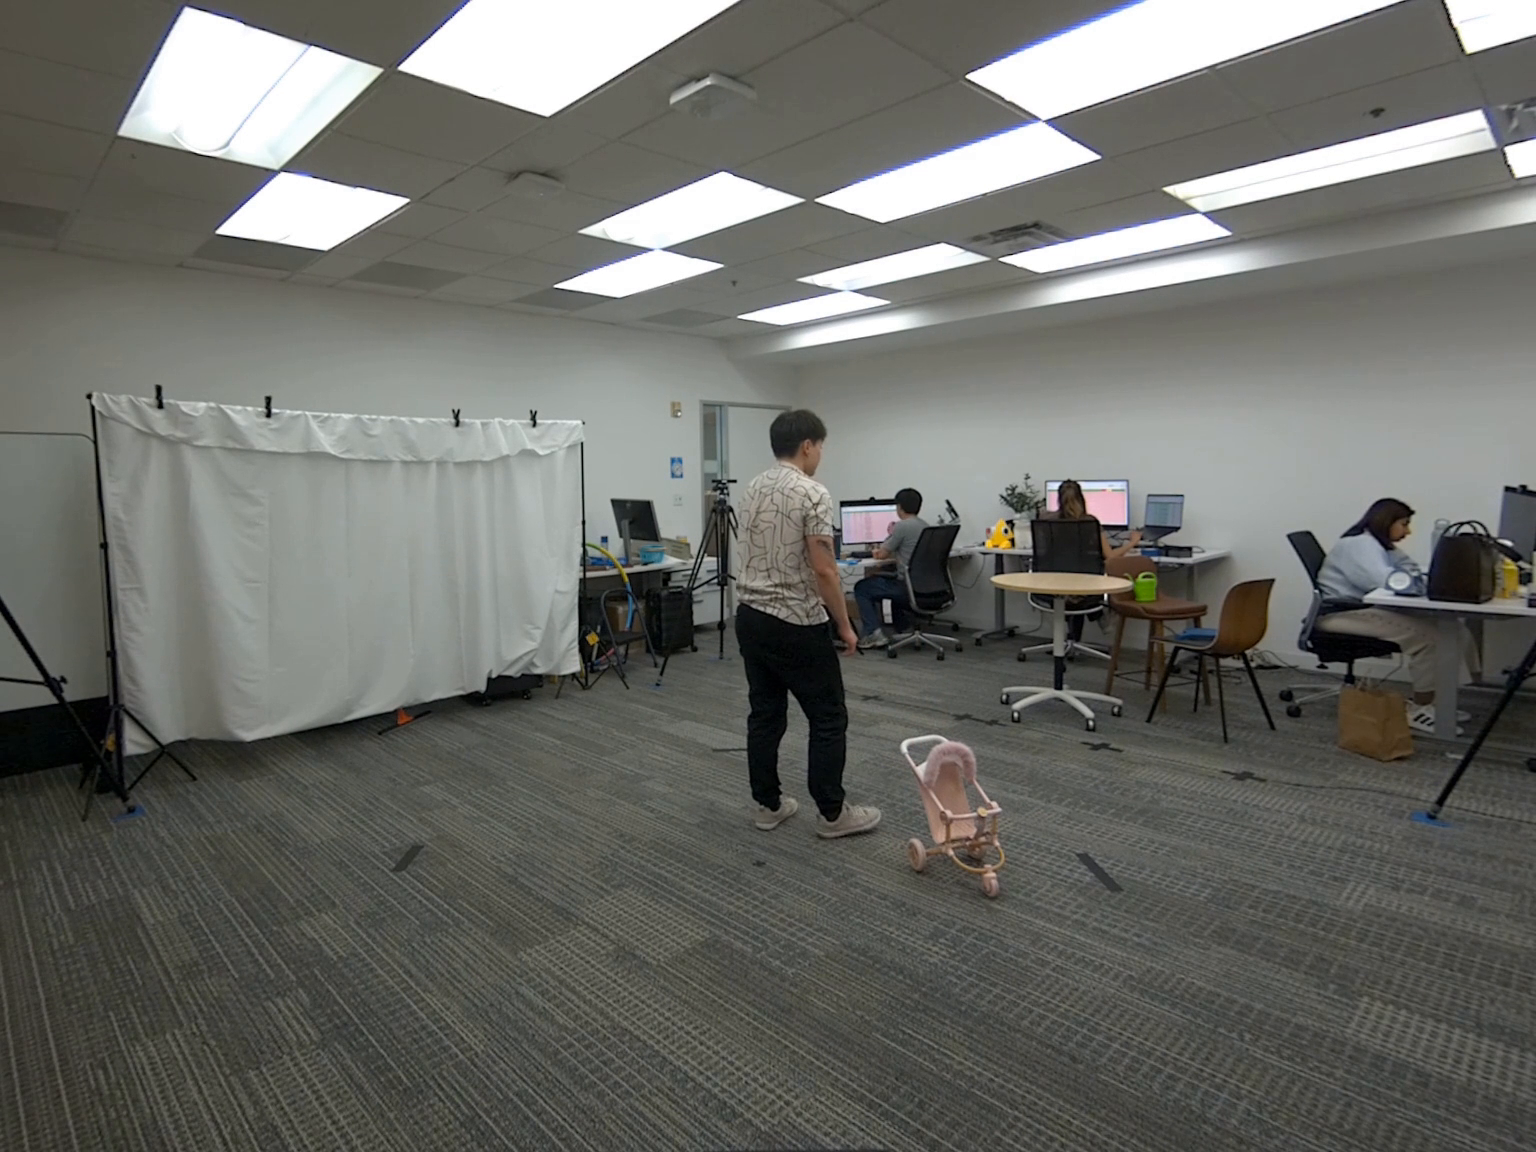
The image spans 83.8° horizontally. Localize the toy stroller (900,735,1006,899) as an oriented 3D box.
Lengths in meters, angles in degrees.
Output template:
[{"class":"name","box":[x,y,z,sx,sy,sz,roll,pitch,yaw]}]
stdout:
[{"class":"toy stroller","box":[0.662,0.823,3.009,0.277,0.543,0.341,-2,-14,-16]}]
